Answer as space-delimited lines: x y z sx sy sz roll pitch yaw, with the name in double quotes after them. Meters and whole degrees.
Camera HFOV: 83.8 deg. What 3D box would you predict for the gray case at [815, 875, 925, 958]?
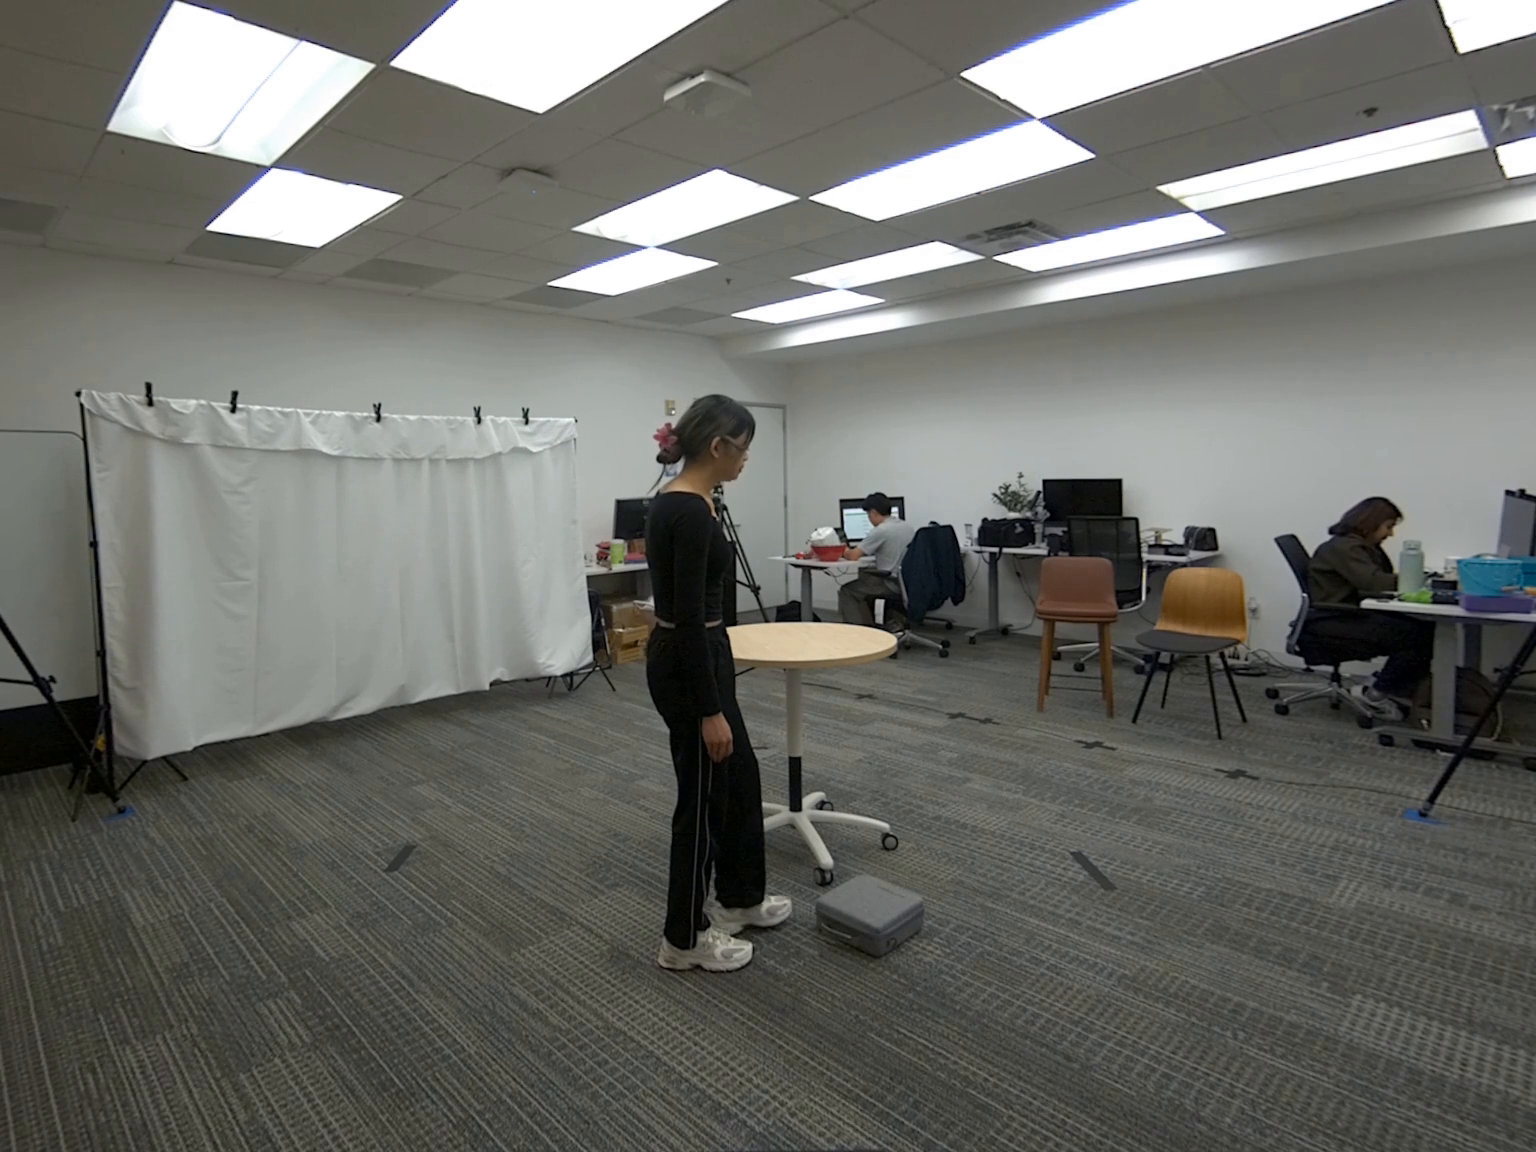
0.316 1.034 2.629 0.254 0.104 0.265 -9 10 -44 "gray case"
